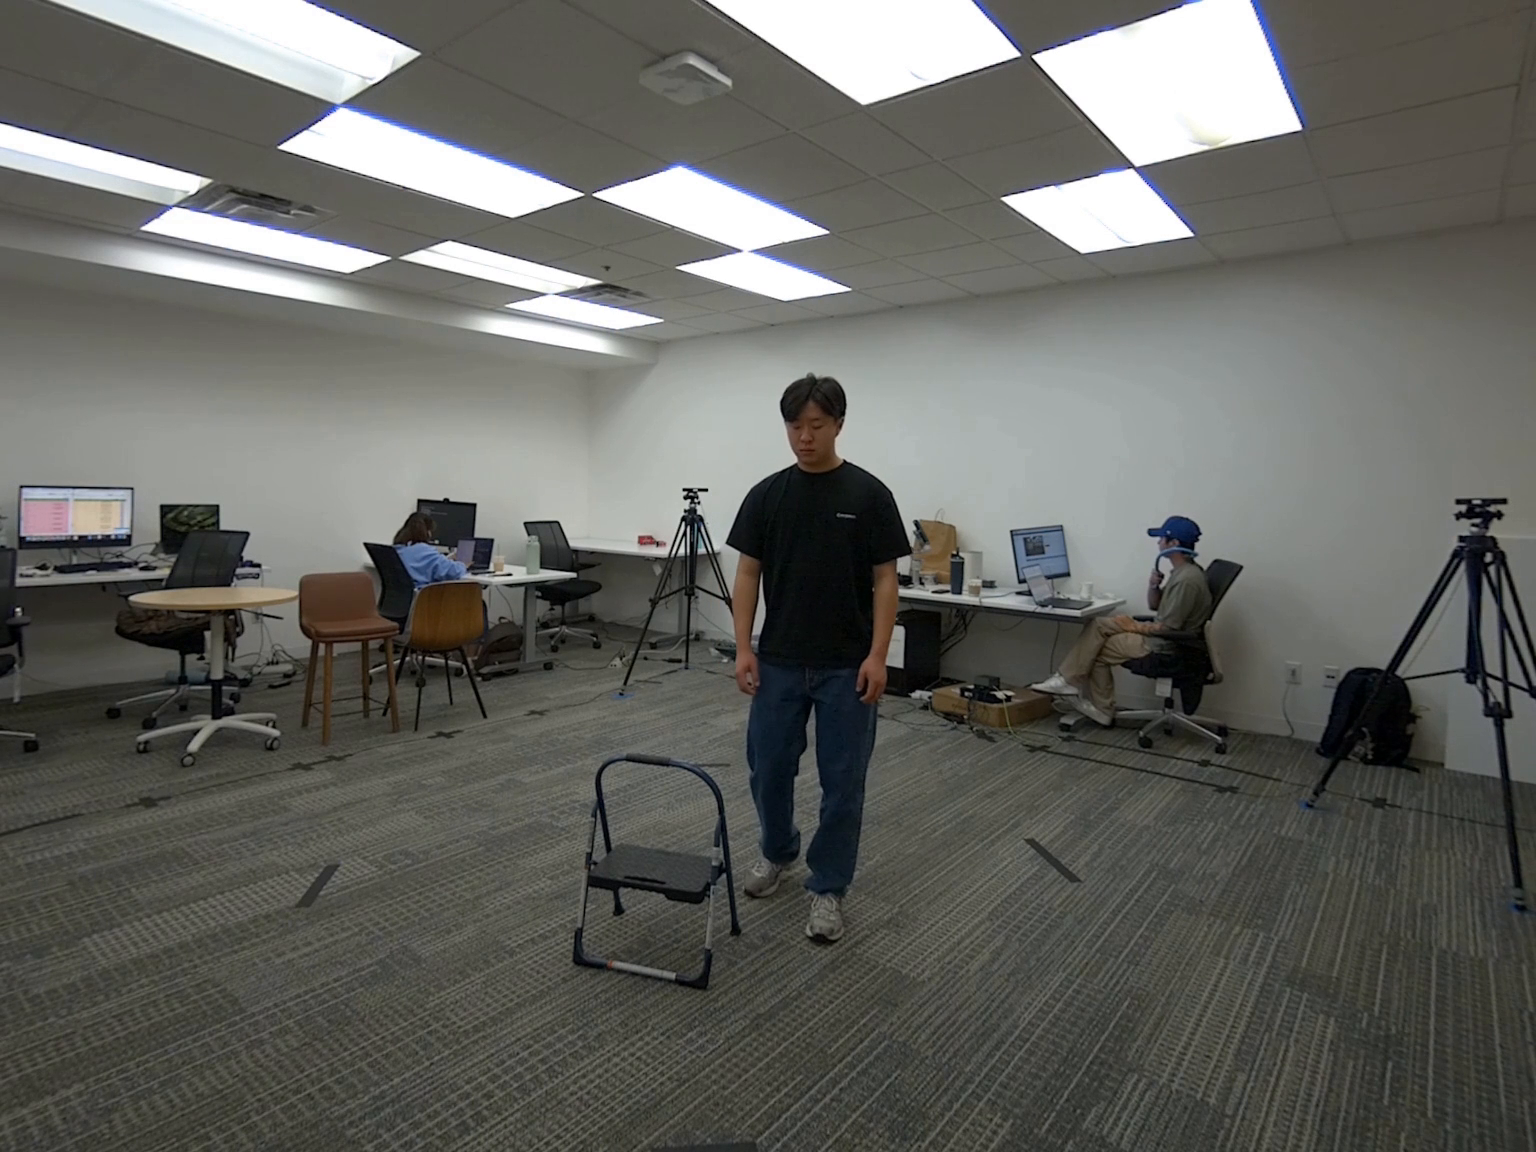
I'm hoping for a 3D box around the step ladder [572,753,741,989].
[{"bbox_3d":[-0.336,0.821,2.551,0.438,0.604,0.345,2,4,14],"label":"step ladder"}]
